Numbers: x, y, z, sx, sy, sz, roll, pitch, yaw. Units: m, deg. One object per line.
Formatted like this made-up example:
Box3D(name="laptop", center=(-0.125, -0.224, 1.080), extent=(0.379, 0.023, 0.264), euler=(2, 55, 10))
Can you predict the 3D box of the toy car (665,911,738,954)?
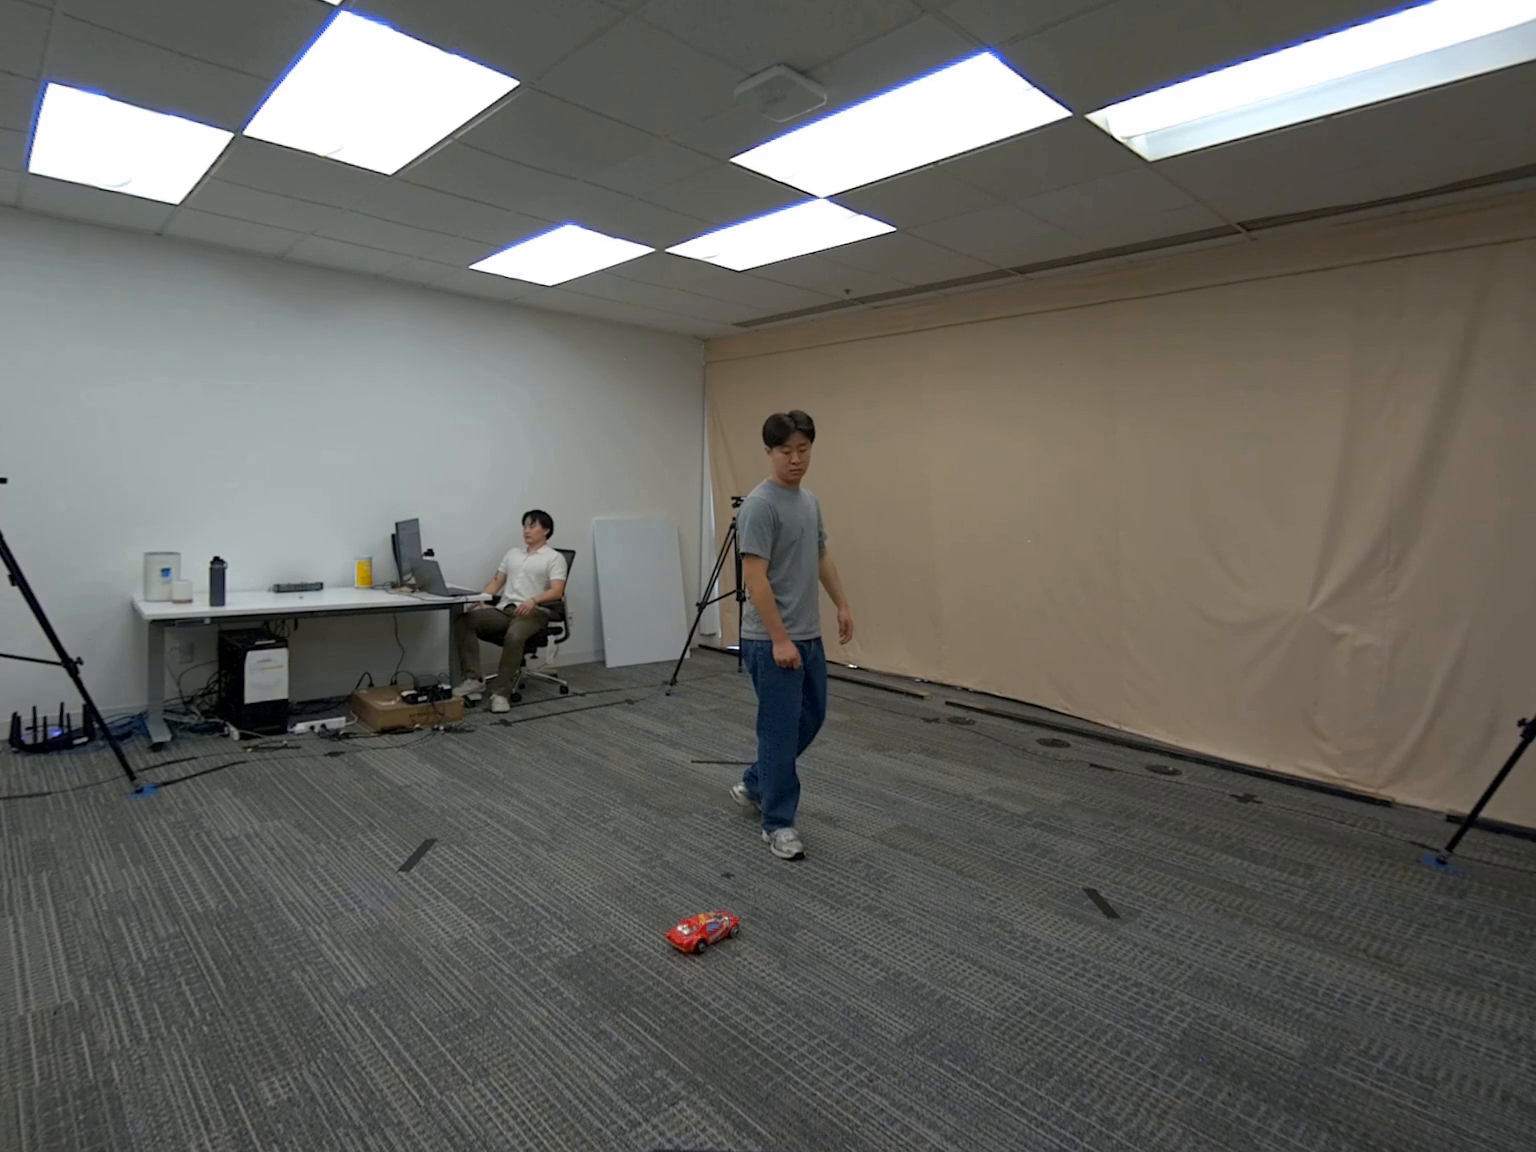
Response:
Box3D(name="toy car", center=(-0.216, 1.115, 2.628), extent=(0.133, 0.083, 0.247), euler=(6, -5, 45))
